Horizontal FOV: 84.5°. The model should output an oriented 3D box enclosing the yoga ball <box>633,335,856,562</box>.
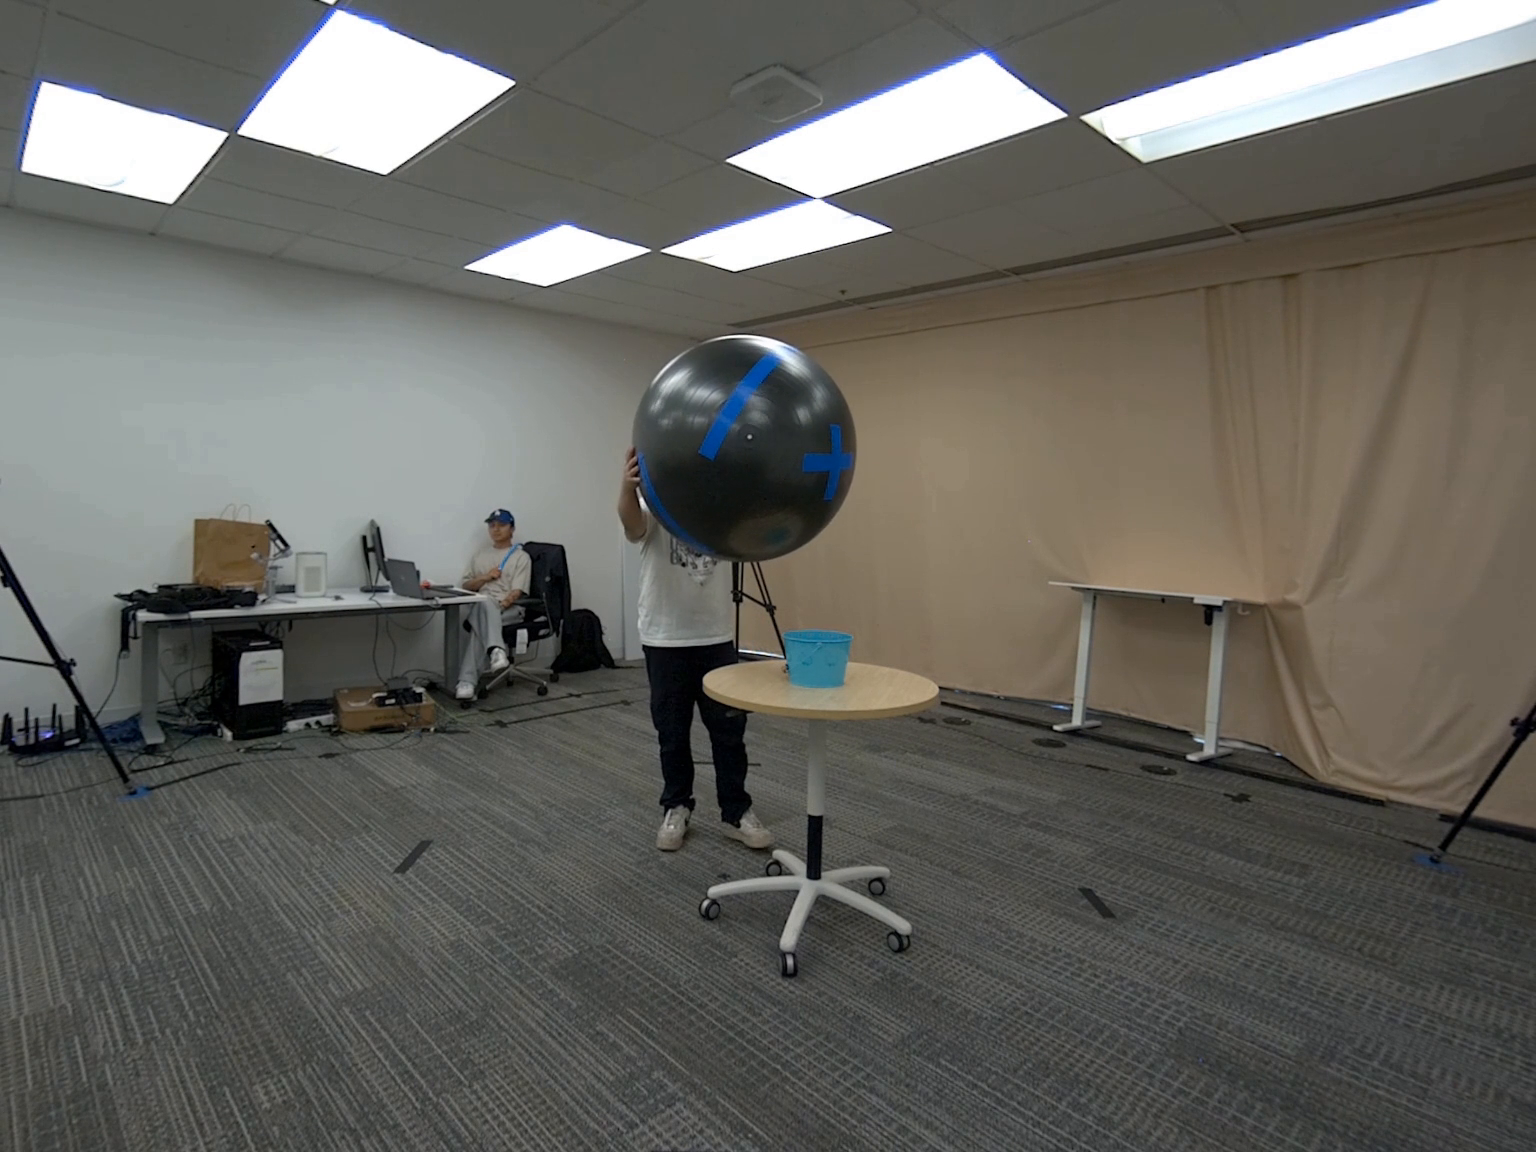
[{"bbox_3d":[-0.086,-0.421,2.847,0.757,0.756,0.761,1,4,-1],"label":"yoga ball"}]
